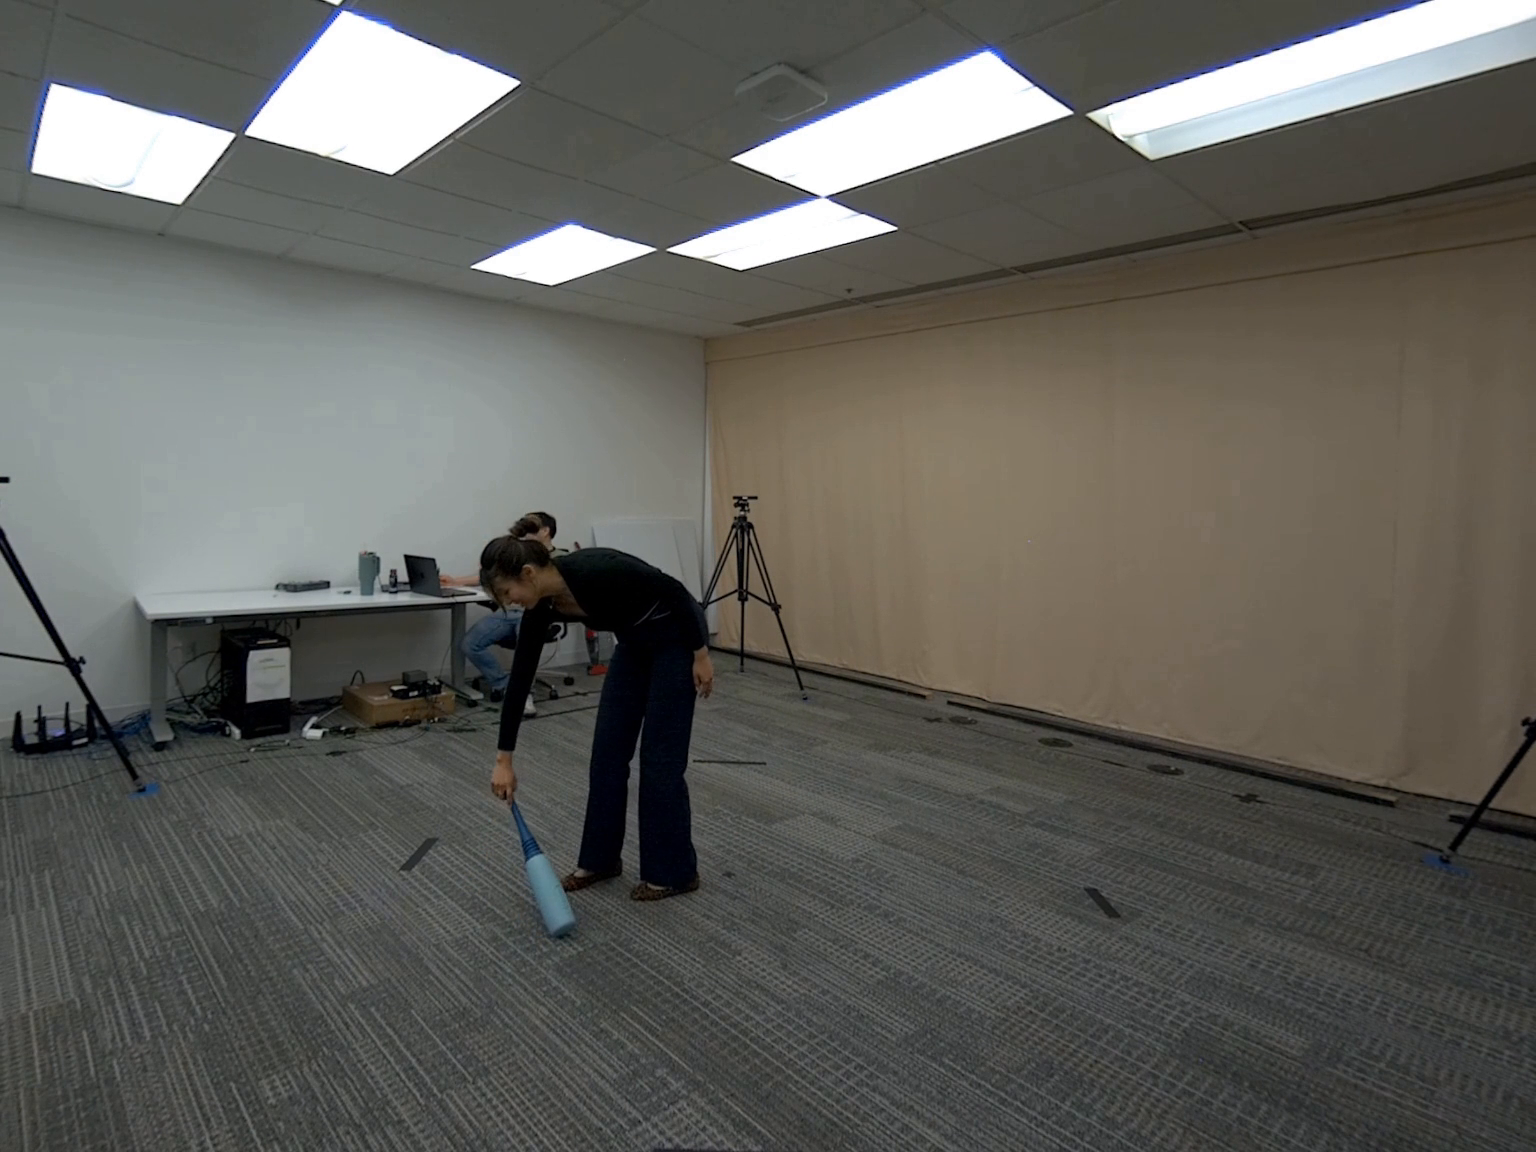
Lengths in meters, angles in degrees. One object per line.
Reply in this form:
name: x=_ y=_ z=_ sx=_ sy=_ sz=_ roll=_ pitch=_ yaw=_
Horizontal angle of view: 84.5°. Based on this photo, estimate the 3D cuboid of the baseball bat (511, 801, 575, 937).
baseball bat: x=-0.786 y=0.927 z=2.762 sx=0.087 sy=0.088 sz=0.559 roll=-2 pitch=45 yaw=-42
